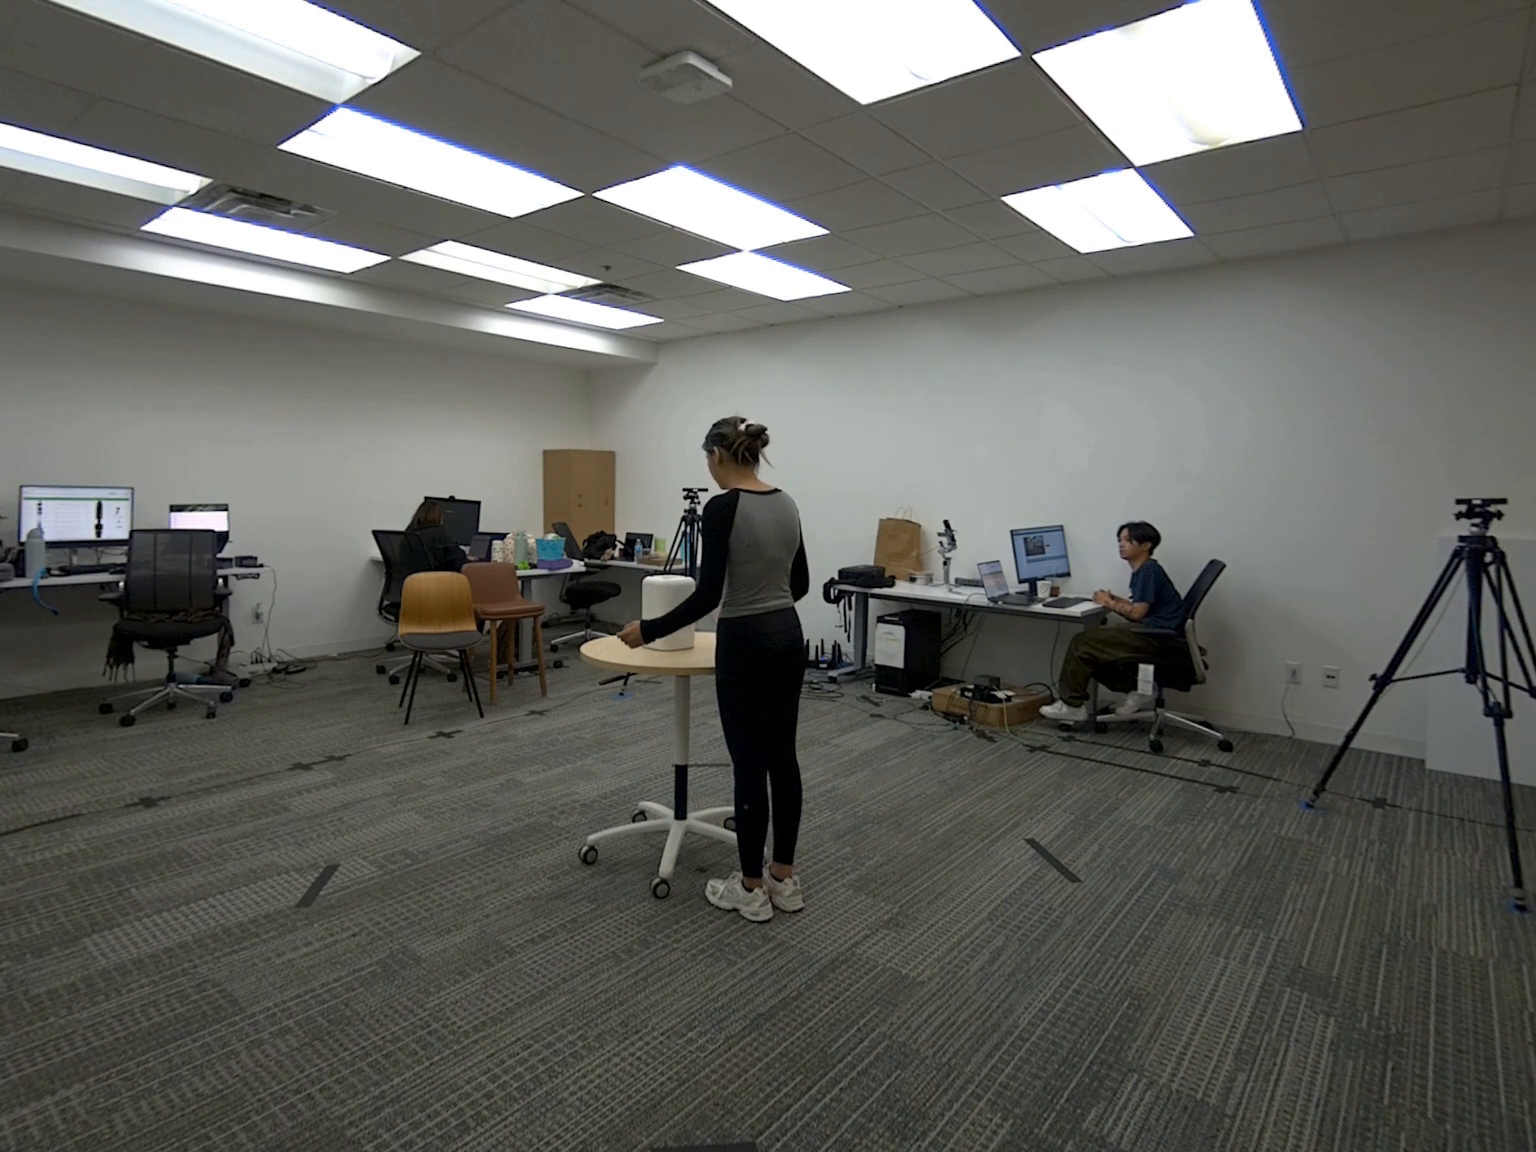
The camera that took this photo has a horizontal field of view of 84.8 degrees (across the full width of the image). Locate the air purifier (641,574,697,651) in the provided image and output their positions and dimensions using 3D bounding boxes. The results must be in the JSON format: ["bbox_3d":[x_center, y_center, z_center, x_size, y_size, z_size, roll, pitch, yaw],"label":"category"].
[{"bbox_3d":[-0.387,0.132,3.211,0.166,0.265,0.177,-2,3,-42],"label":"air purifier"}]
